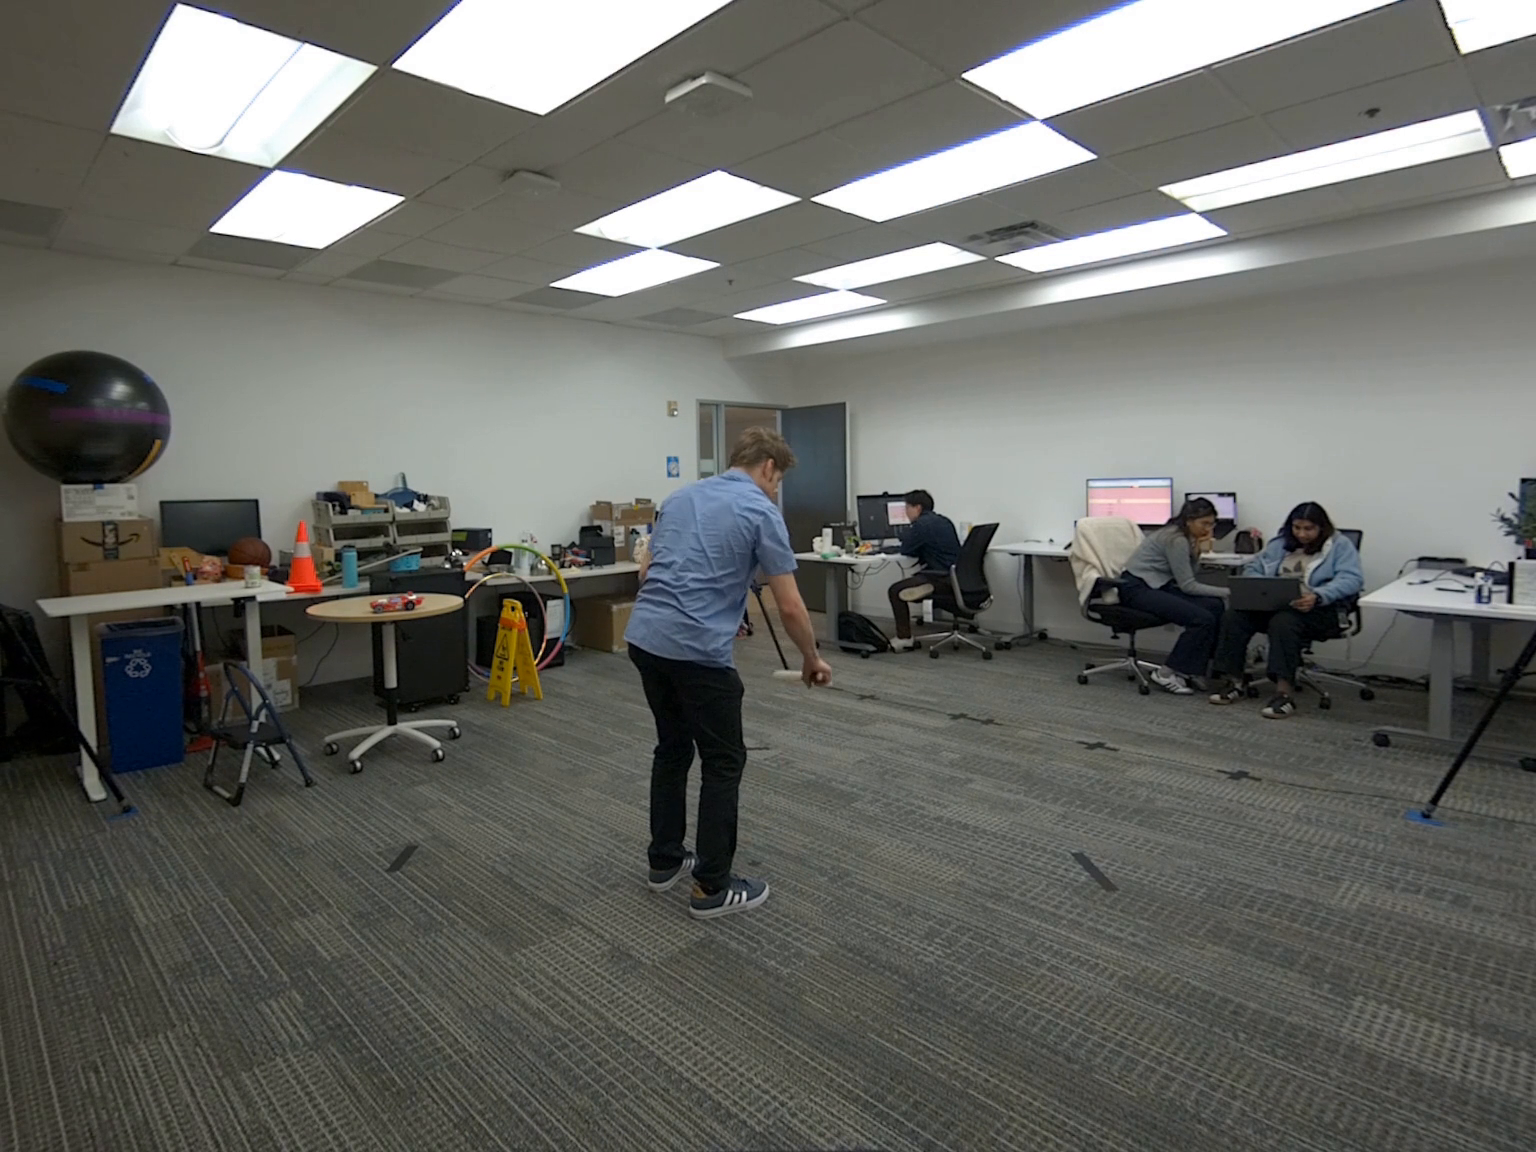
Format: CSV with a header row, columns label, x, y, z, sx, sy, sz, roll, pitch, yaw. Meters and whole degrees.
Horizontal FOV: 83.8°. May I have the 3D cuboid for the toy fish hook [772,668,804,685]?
label,x,y,z,sx,sy,sz,roll,pitch,yaw
toy fish hook,0.169,0.386,3.145,0.222,0.048,0.509,7,-7,-13
